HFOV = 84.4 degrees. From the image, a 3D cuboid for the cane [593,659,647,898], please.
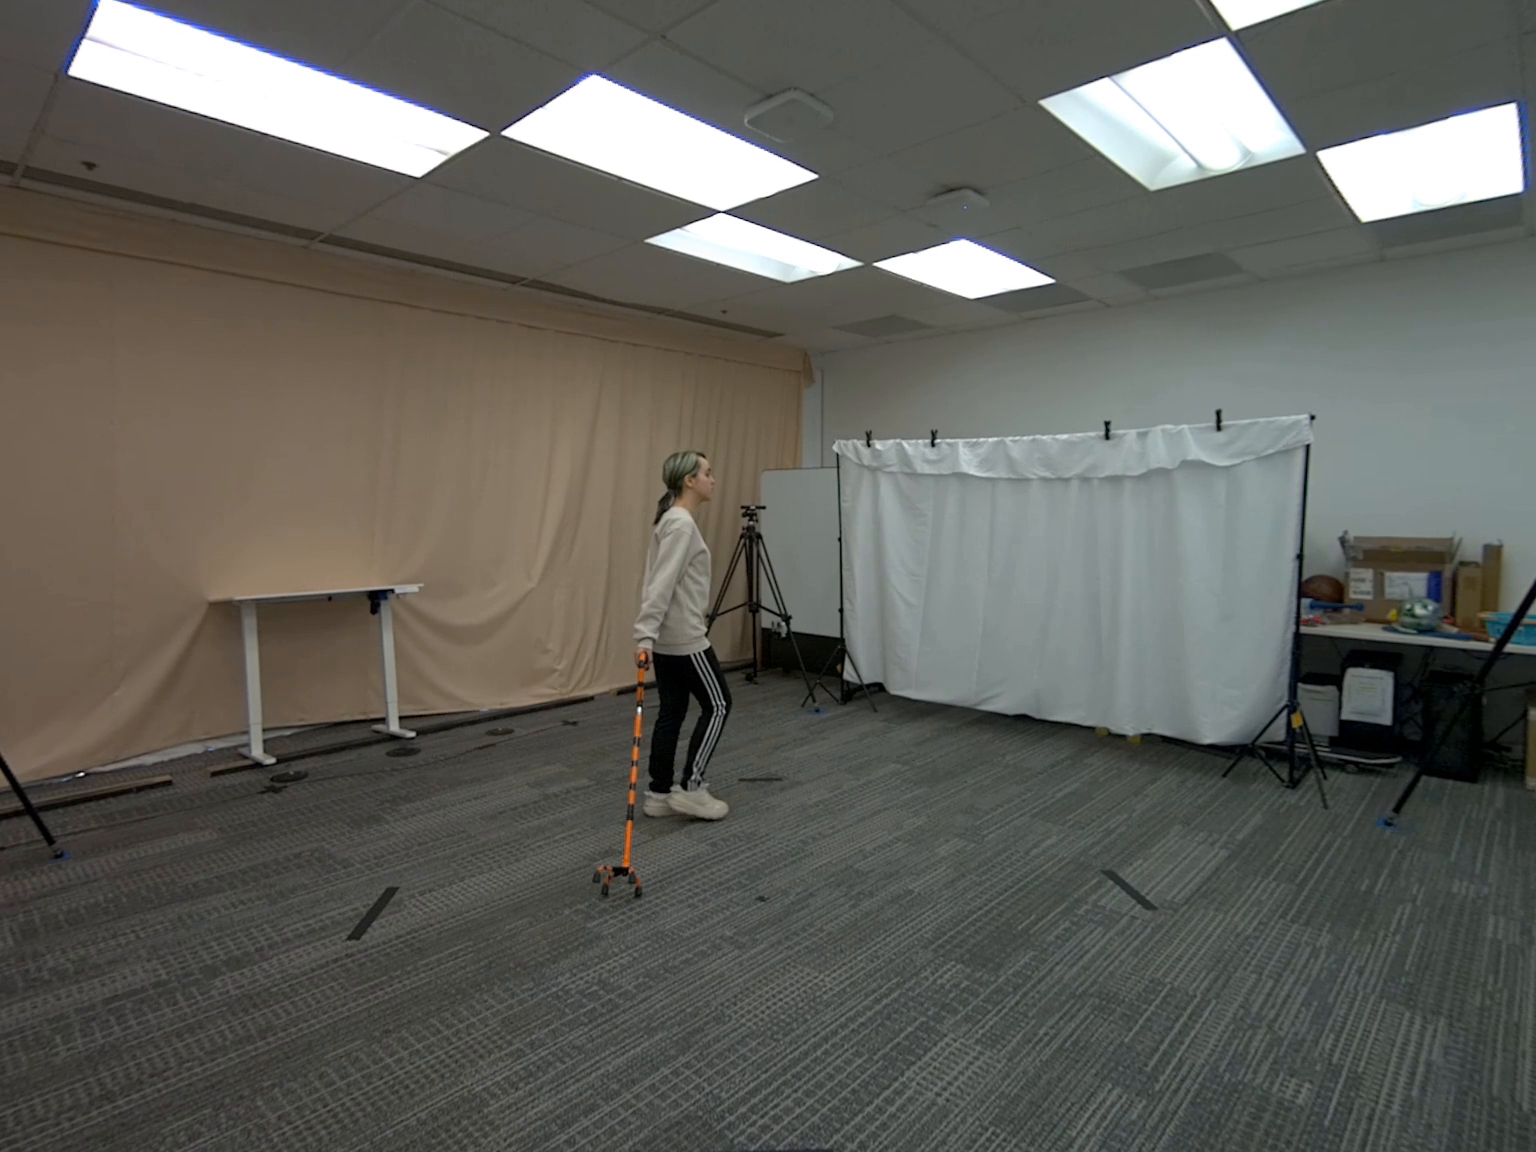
[{"bbox_3d":[-0.517,0.708,3.180,0.152,0.923,0.203,1,-34,0],"label":"cane"}]
